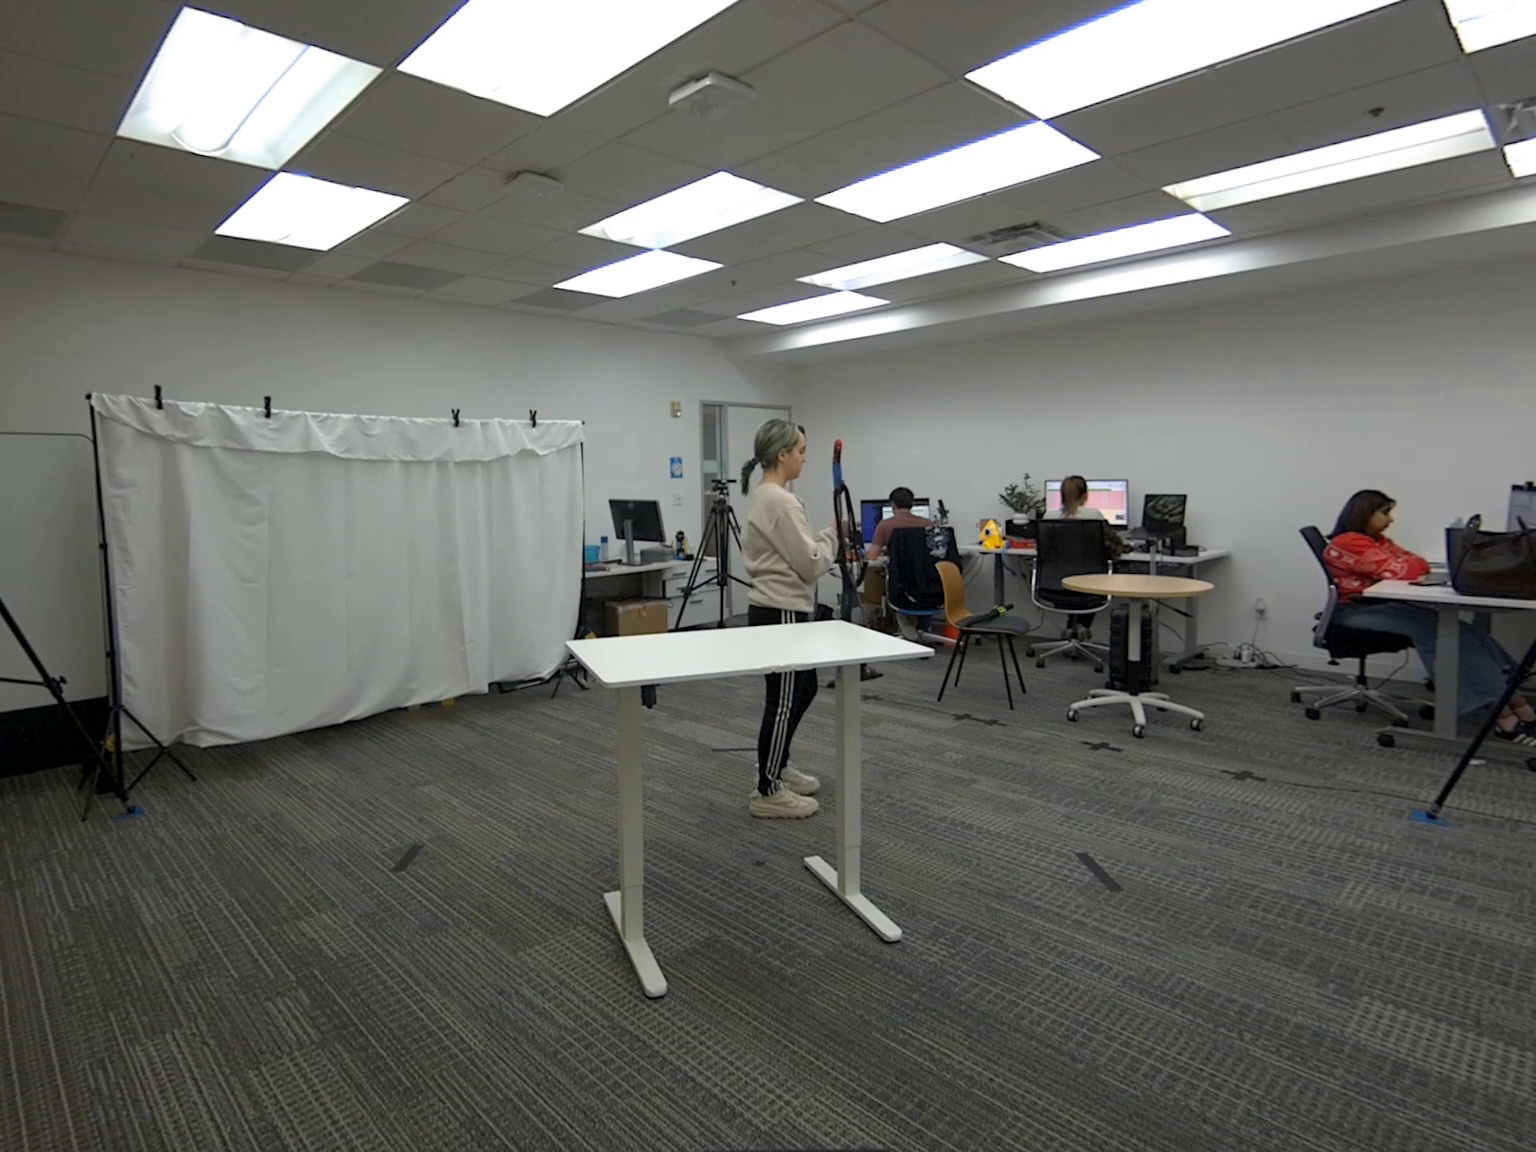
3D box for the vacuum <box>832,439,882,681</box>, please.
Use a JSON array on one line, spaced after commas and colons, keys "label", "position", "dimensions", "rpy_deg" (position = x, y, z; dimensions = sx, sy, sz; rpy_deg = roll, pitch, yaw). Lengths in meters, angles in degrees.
[{"label": "vacuum", "position": [0.331, -0.041, 3.542], "dimensions": [0.249, 1.032, 0.148], "rpy_deg": [-11, 18, -17]}]
